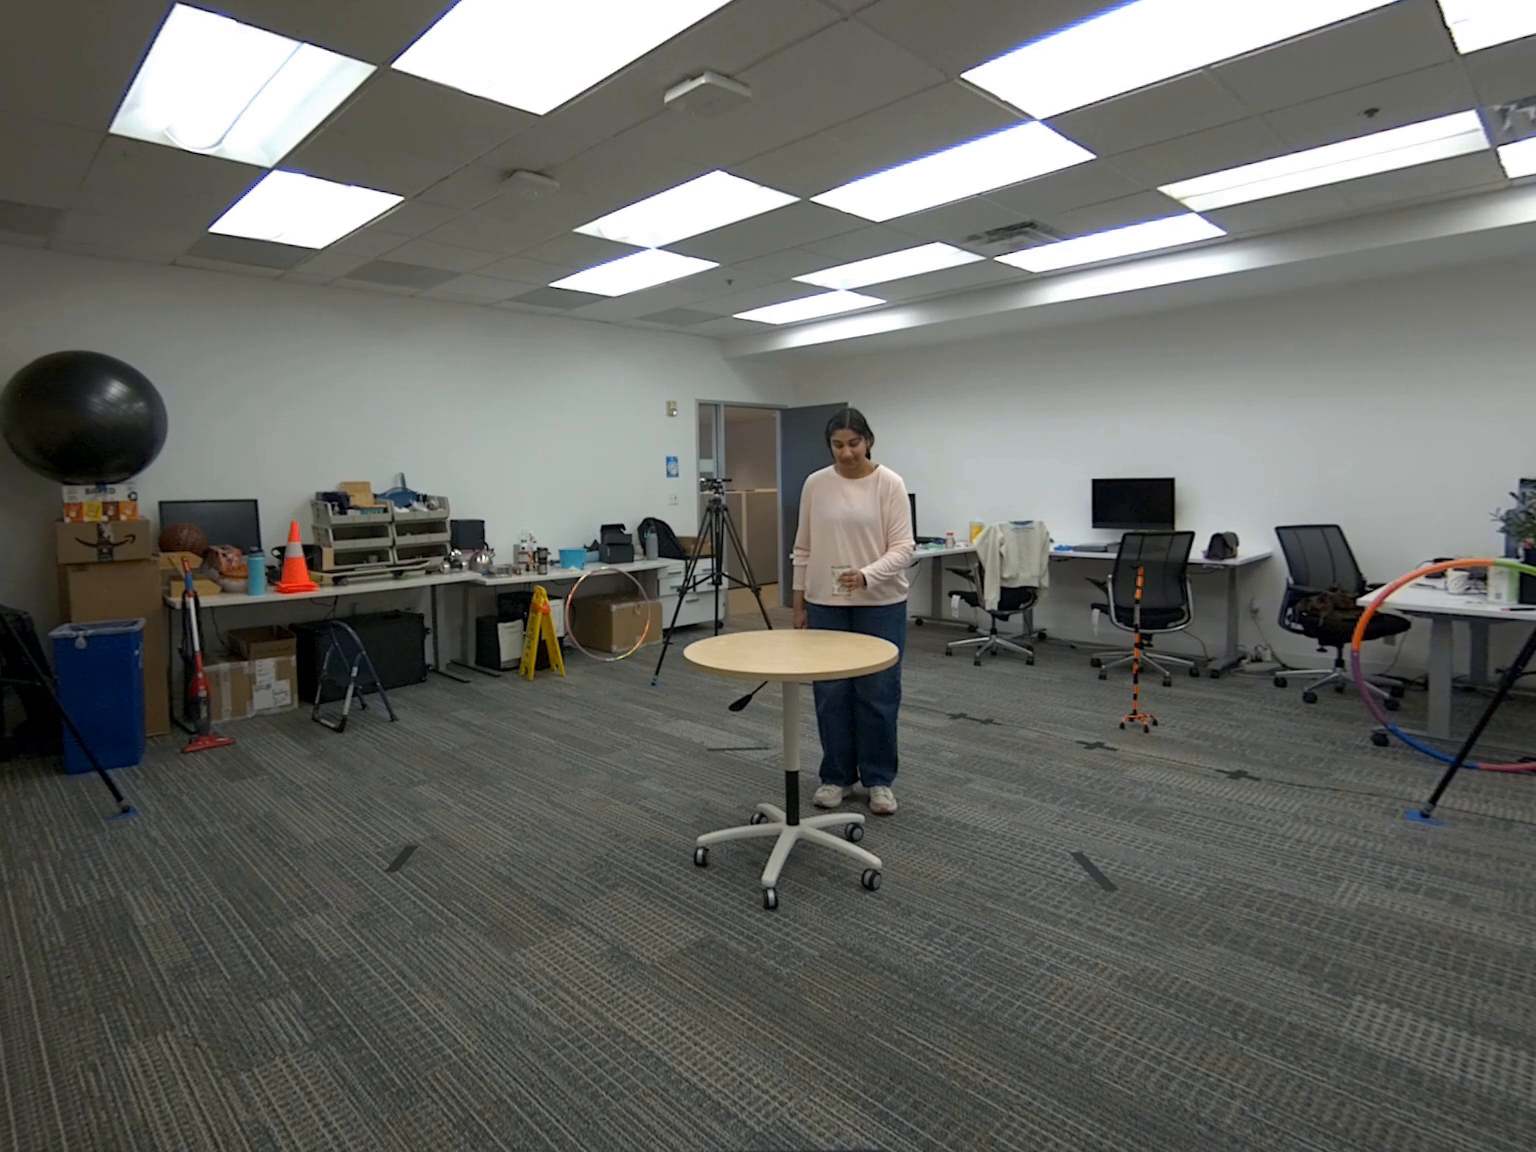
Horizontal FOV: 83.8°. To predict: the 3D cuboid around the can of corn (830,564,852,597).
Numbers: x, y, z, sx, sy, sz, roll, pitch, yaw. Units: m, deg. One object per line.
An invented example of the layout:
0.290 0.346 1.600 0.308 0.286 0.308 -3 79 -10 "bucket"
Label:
0.278 0.020 3.286 0.074 0.111 0.074 0 2 -2 "can of corn"
